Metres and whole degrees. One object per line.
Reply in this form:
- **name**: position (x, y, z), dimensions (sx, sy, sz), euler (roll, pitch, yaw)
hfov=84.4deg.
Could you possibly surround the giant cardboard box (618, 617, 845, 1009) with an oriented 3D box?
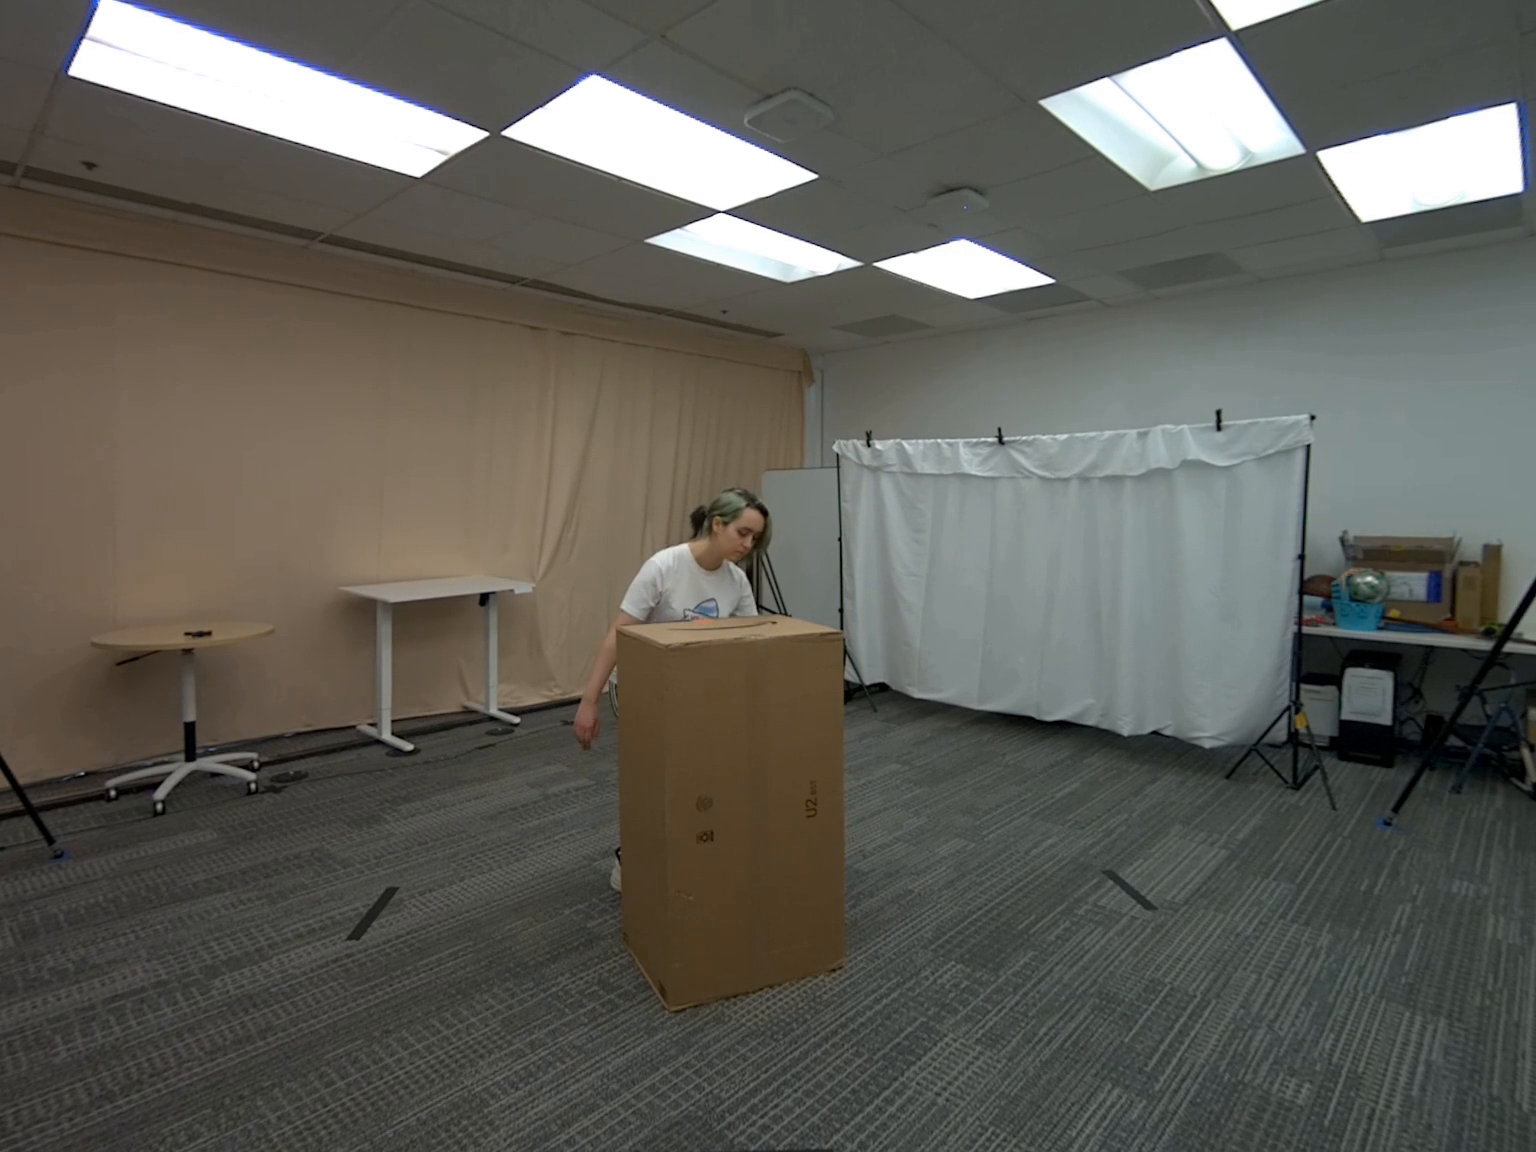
- **giant cardboard box**: position (-0.116, 0.672, 2.586), dimensions (0.570, 1.024, 0.459), euler (-2, 4, -27)
